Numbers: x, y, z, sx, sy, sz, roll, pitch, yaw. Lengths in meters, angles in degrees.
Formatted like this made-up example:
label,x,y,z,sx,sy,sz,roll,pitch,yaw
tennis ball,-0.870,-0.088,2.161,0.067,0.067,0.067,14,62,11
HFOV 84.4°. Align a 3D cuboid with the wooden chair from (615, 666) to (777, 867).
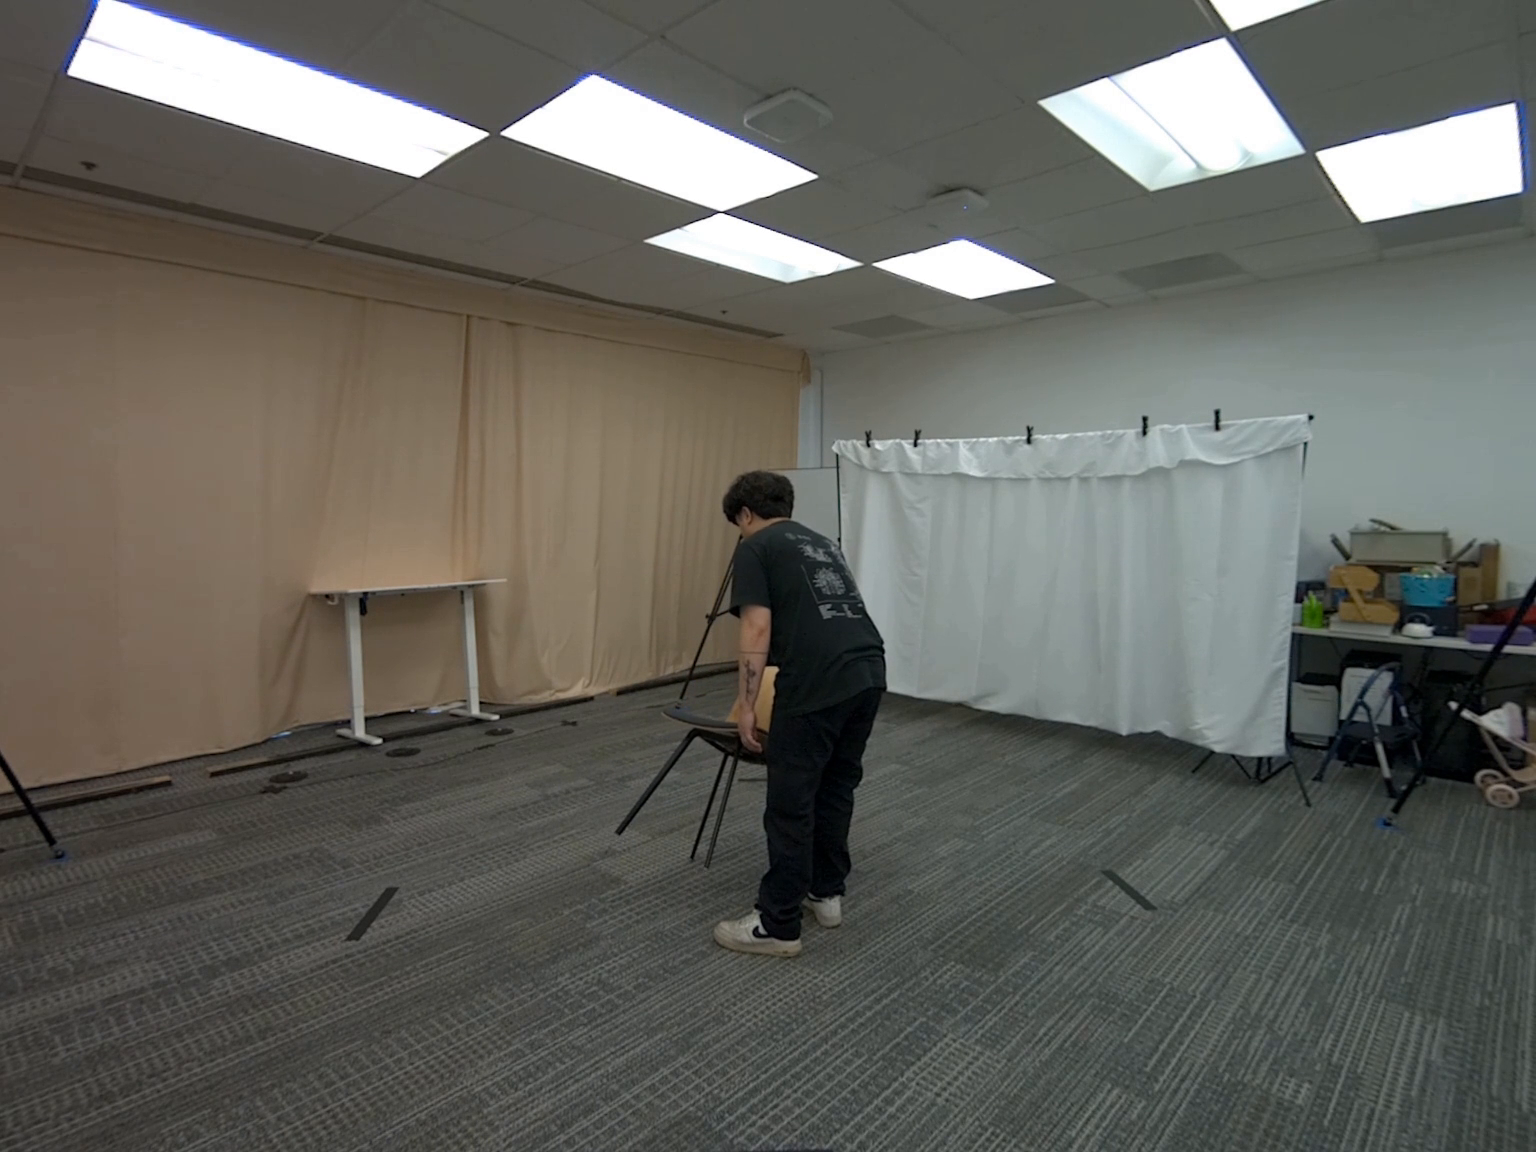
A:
label,x,y,z,sx,sy,sz,roll,pitch,yaw
wooden chair,-0.131,0.643,3.144,0.494,0.880,0.504,3,-29,42
